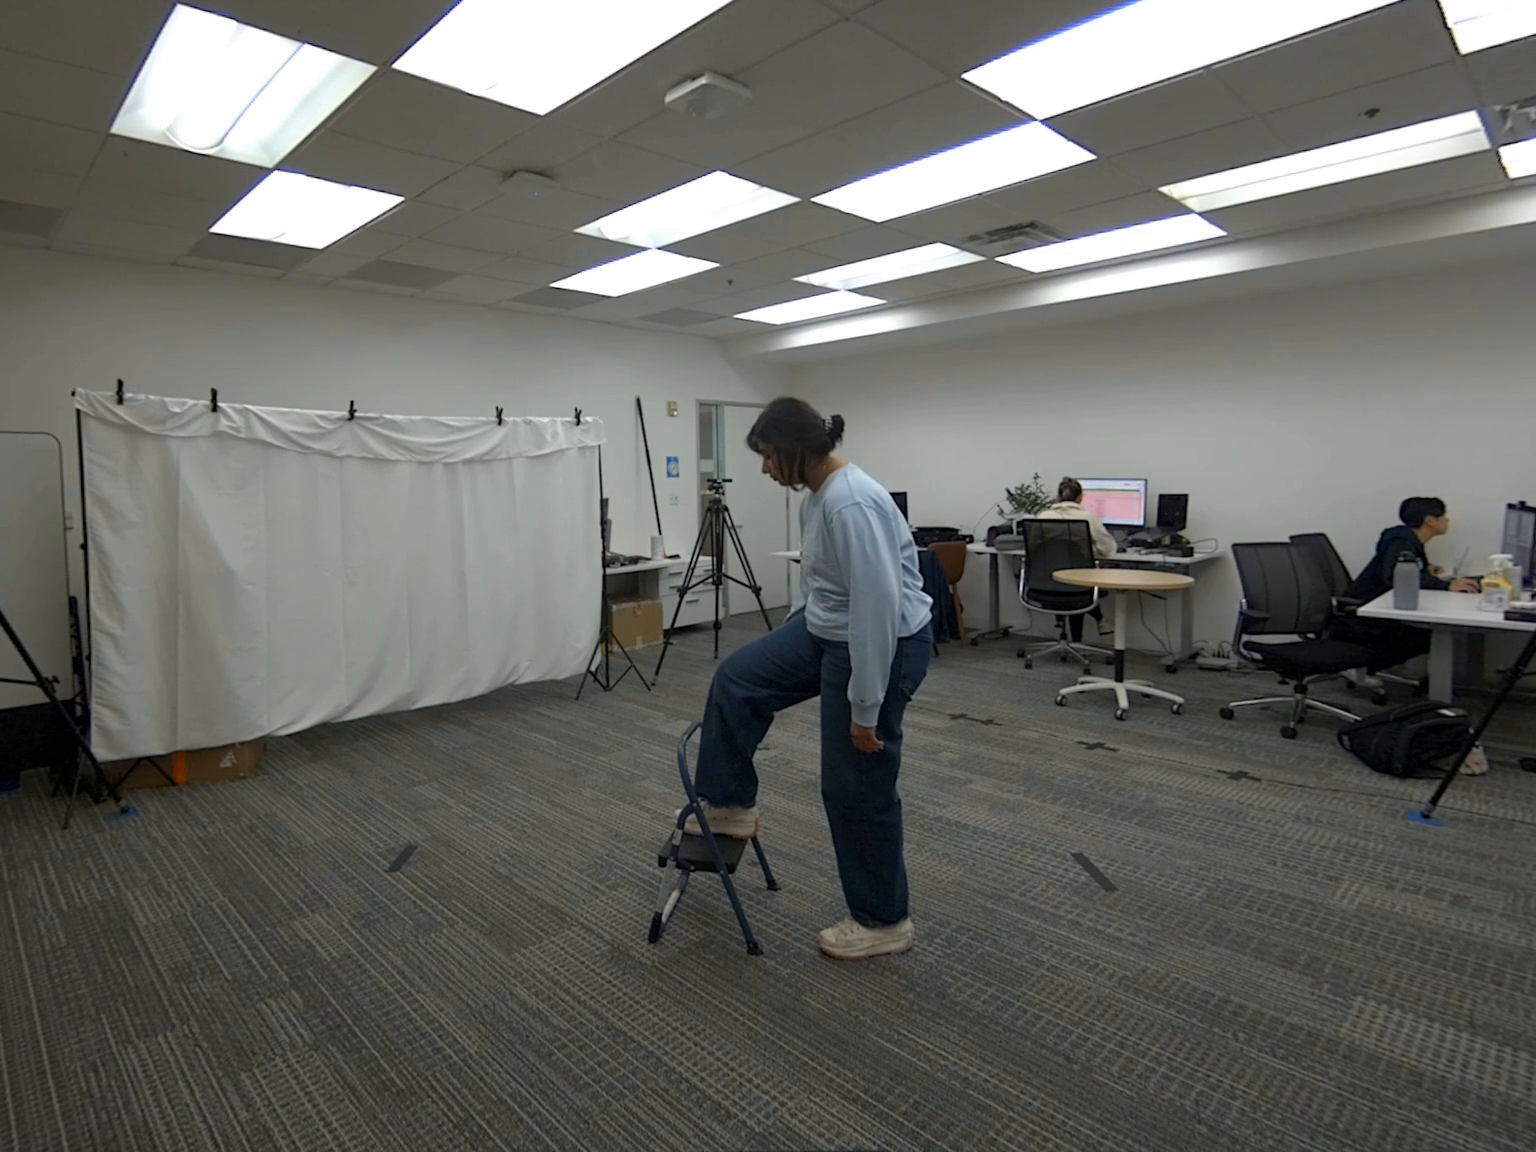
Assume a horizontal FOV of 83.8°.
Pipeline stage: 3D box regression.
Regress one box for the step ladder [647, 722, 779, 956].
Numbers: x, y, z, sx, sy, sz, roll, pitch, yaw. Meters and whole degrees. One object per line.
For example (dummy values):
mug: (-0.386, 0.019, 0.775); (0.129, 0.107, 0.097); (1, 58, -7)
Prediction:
step ladder: (-0.166, 0.791, 2.734); (0.353, 0.604, 0.428); (0, 5, 10)
